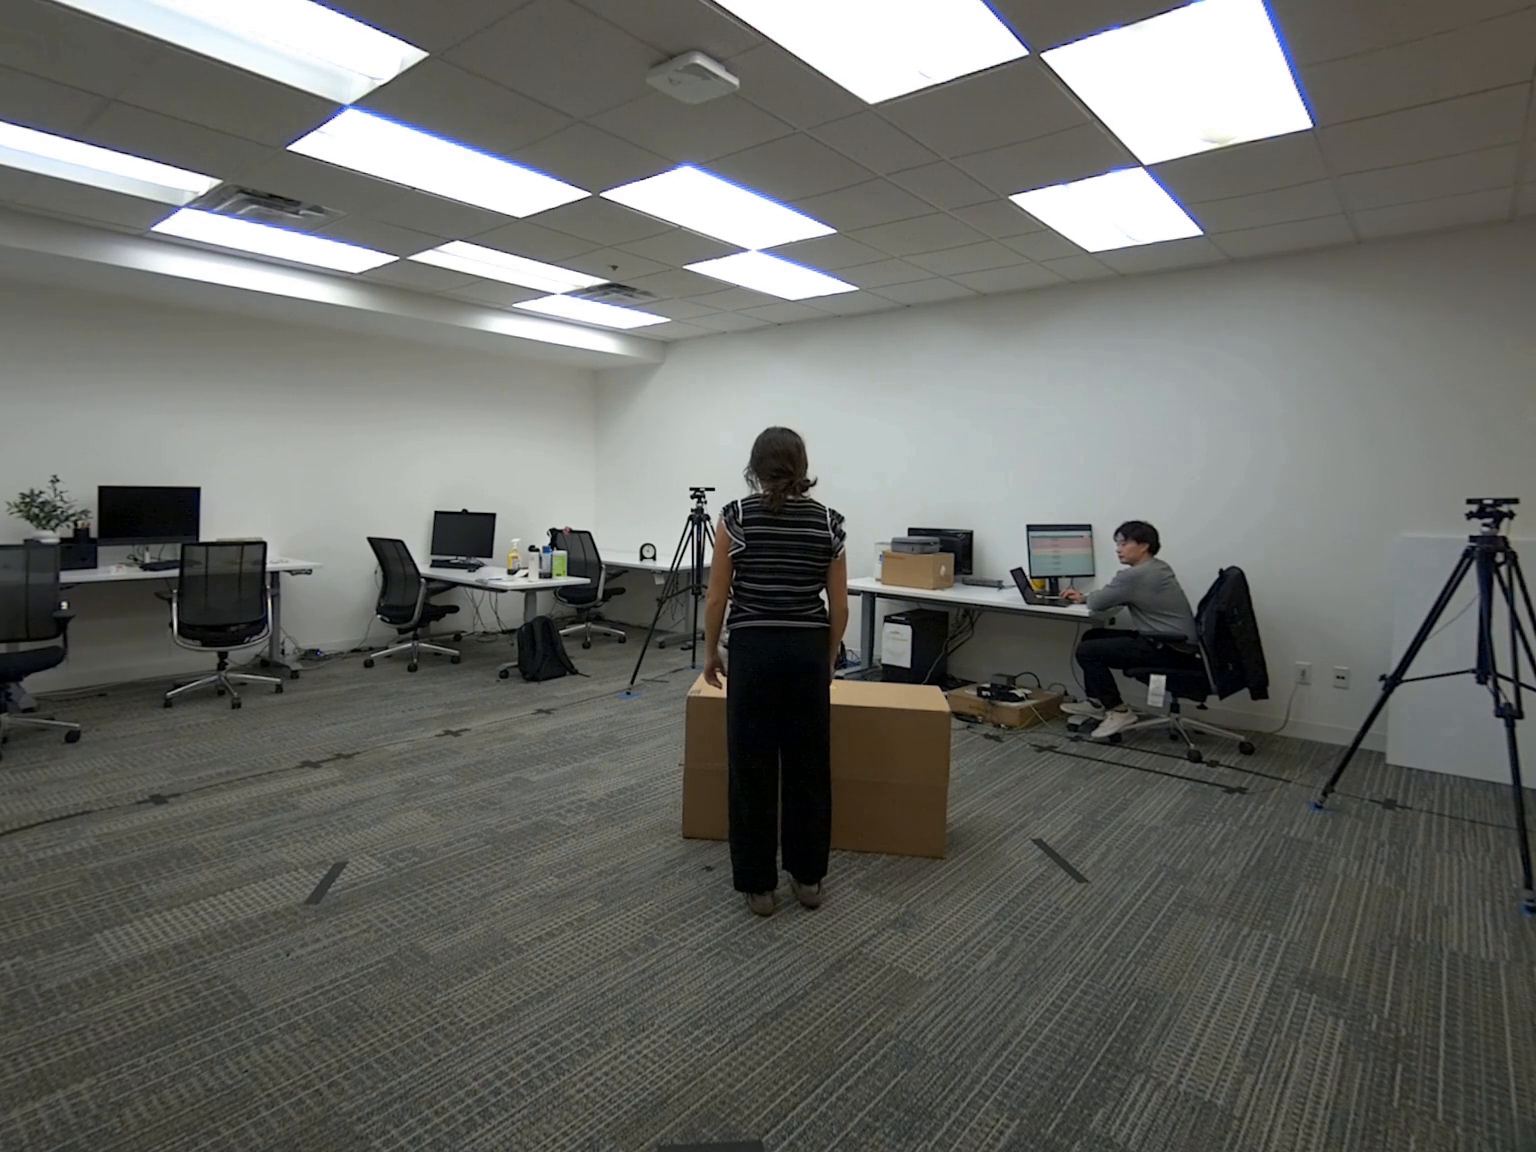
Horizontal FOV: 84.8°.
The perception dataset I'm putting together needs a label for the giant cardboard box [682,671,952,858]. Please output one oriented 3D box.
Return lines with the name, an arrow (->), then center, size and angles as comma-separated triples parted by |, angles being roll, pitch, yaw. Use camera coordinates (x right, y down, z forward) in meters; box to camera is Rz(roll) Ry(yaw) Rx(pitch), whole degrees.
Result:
giant cardboard box -> 0.185, 0.749, 3.500 | 1.034, 0.575, 0.424 | 2, 4, 7
